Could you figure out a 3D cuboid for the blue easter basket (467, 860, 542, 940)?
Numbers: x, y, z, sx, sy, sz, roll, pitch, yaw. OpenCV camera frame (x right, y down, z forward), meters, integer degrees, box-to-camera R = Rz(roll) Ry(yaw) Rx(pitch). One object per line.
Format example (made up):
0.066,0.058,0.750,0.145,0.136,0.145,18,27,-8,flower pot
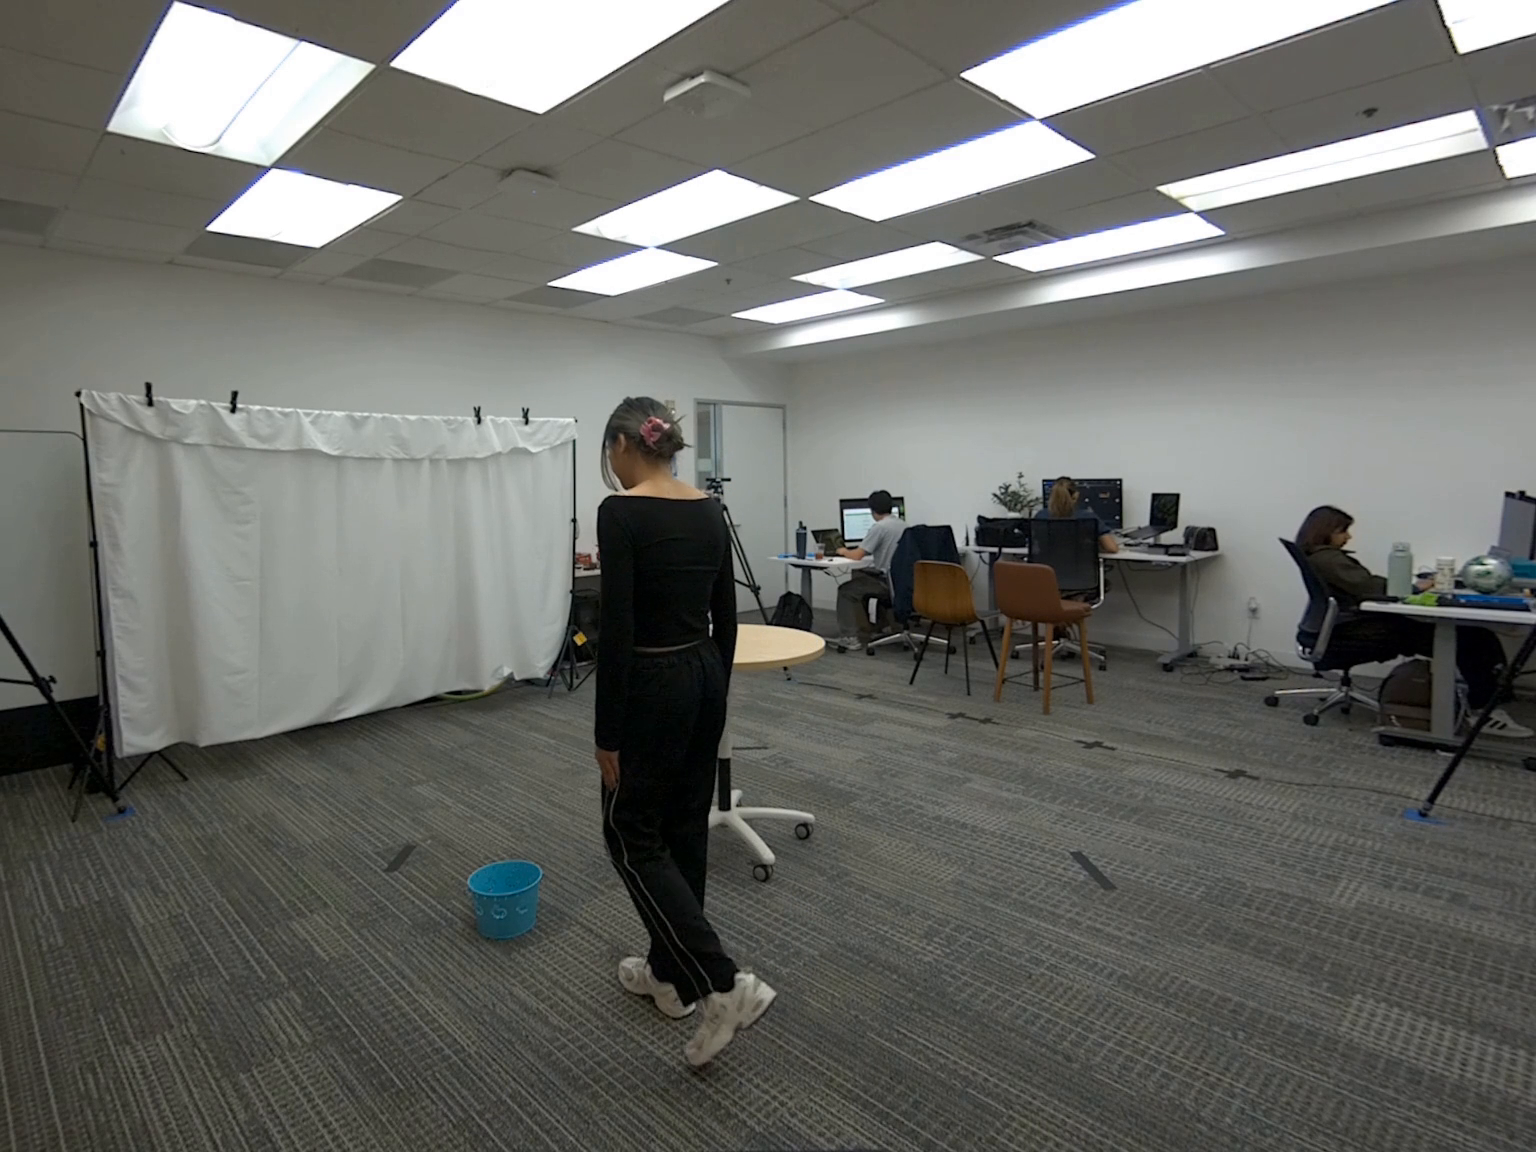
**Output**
-0.824,1.025,2.715,0.243,0.155,0.245,-1,5,-2,blue easter basket
